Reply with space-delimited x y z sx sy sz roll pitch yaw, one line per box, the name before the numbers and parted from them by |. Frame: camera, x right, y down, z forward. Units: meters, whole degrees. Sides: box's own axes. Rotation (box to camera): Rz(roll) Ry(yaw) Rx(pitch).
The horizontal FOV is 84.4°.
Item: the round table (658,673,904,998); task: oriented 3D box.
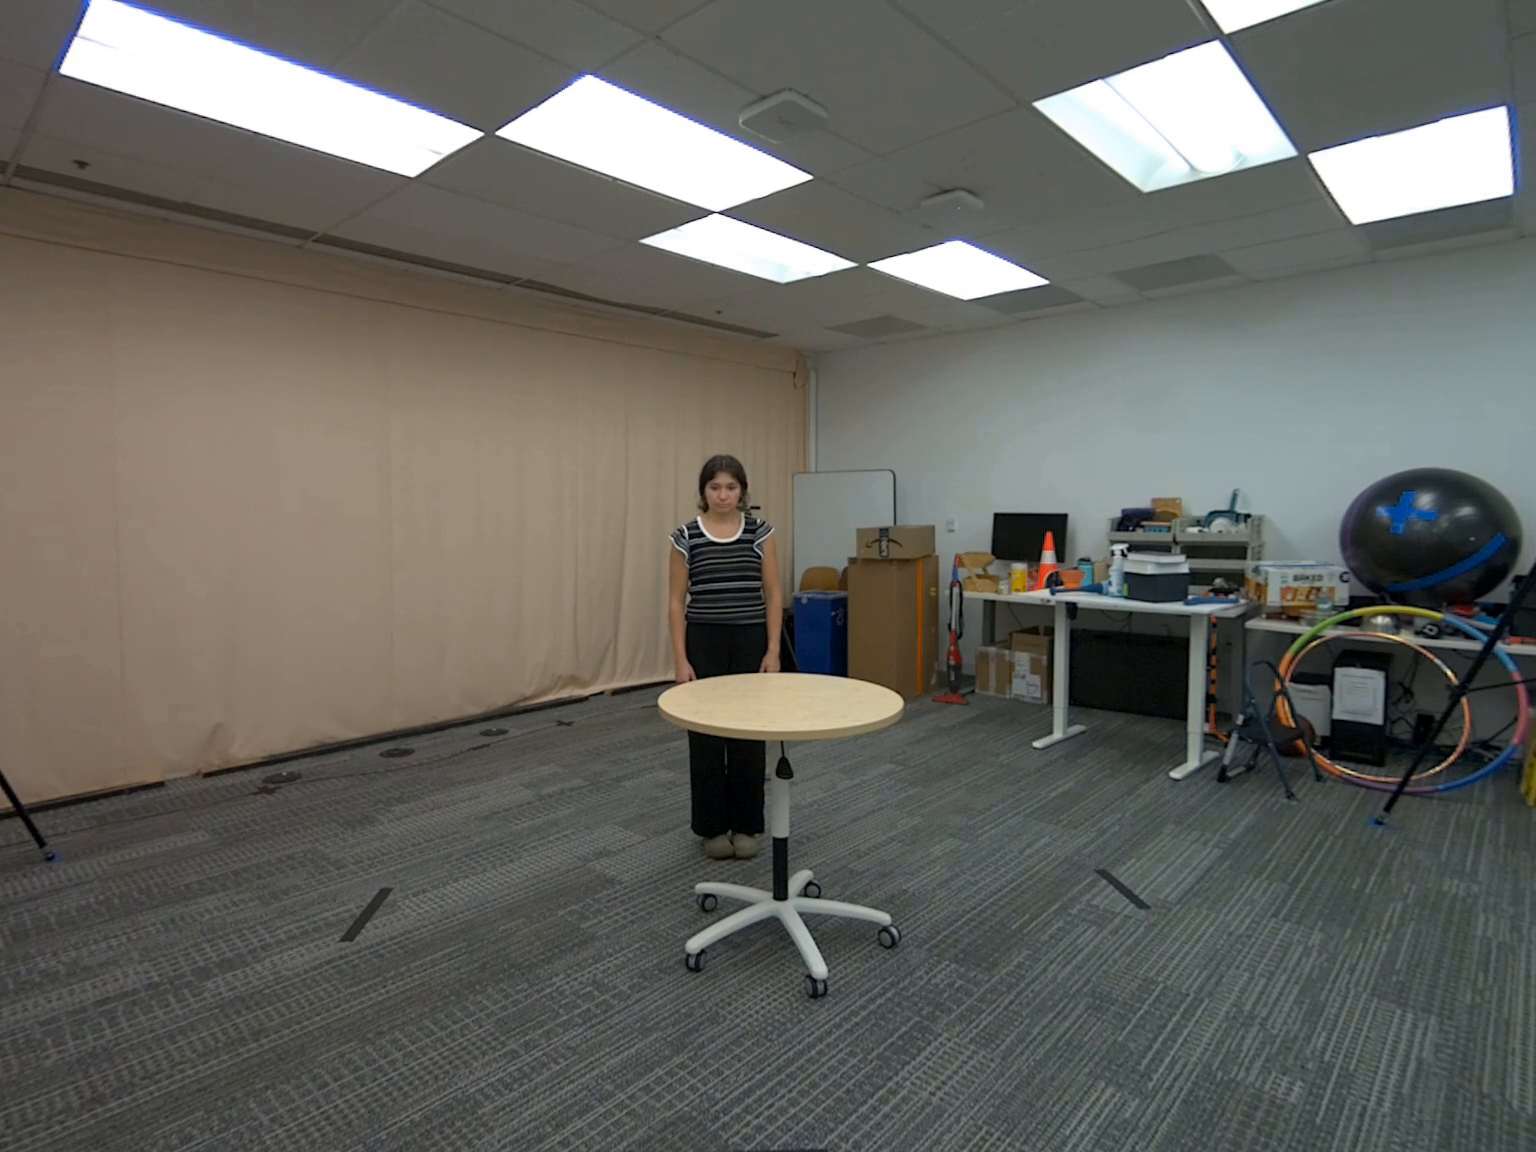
round table | 0.053 0.771 2.691 0.784 0.785 0.788 0 4 -2
